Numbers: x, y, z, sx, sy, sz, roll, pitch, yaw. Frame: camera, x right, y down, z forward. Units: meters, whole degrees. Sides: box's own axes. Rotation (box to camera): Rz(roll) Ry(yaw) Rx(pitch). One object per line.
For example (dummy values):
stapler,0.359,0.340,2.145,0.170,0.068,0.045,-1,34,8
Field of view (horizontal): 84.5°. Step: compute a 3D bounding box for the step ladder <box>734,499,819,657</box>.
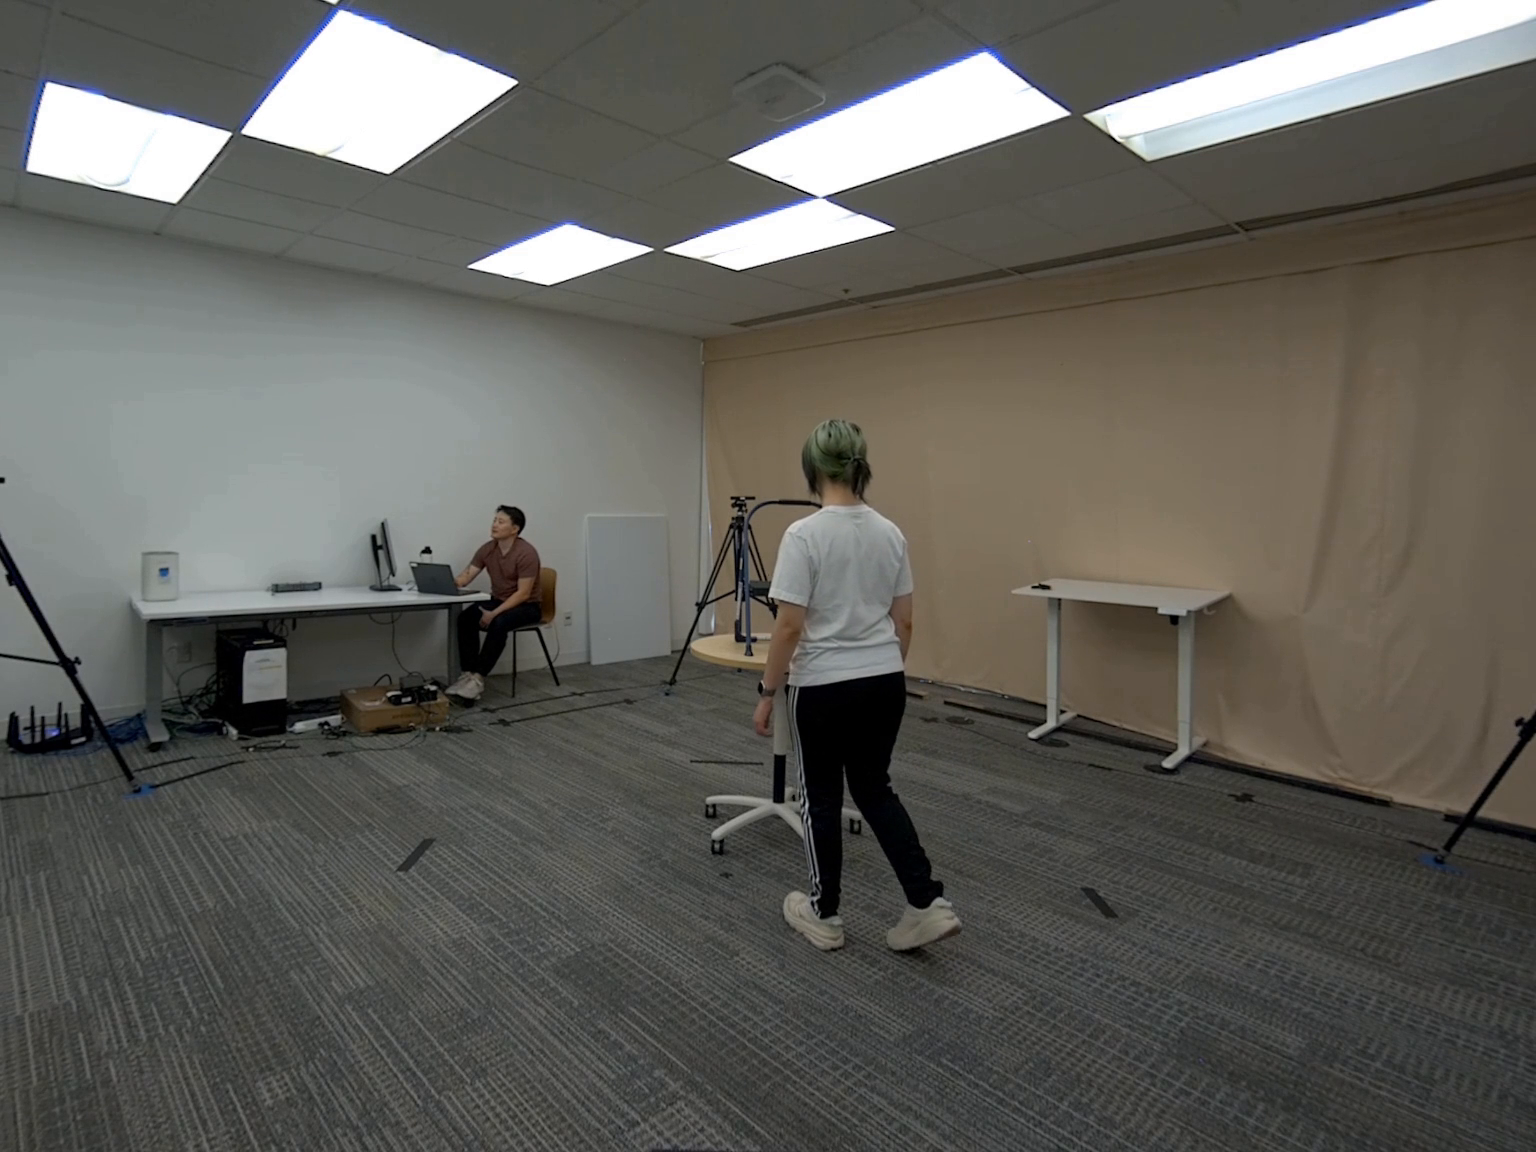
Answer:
step ladder,0.093,-0.004,3.416,0.427,0.605,0.353,1,3,-10
